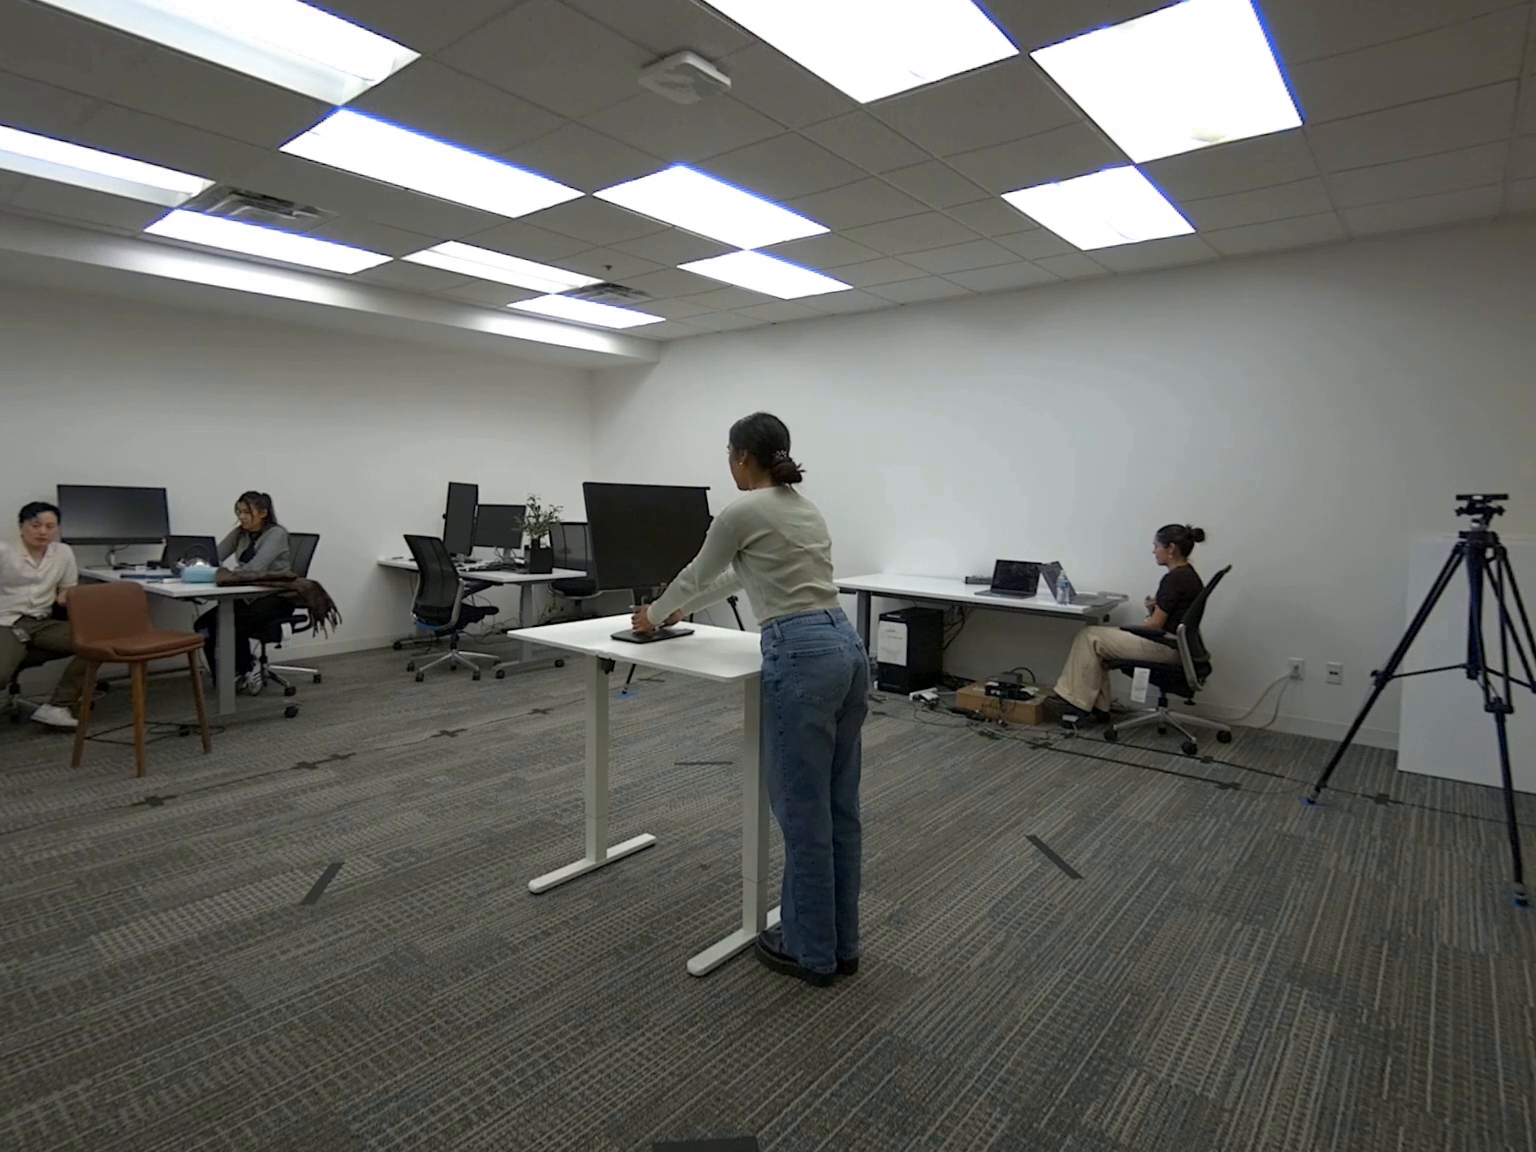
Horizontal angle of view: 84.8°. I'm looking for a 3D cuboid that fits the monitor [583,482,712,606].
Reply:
[{"bbox_3d":[-0.410,-0.051,2.883,0.193,0.522,0.523,1,3,43],"label":"monitor"}]
